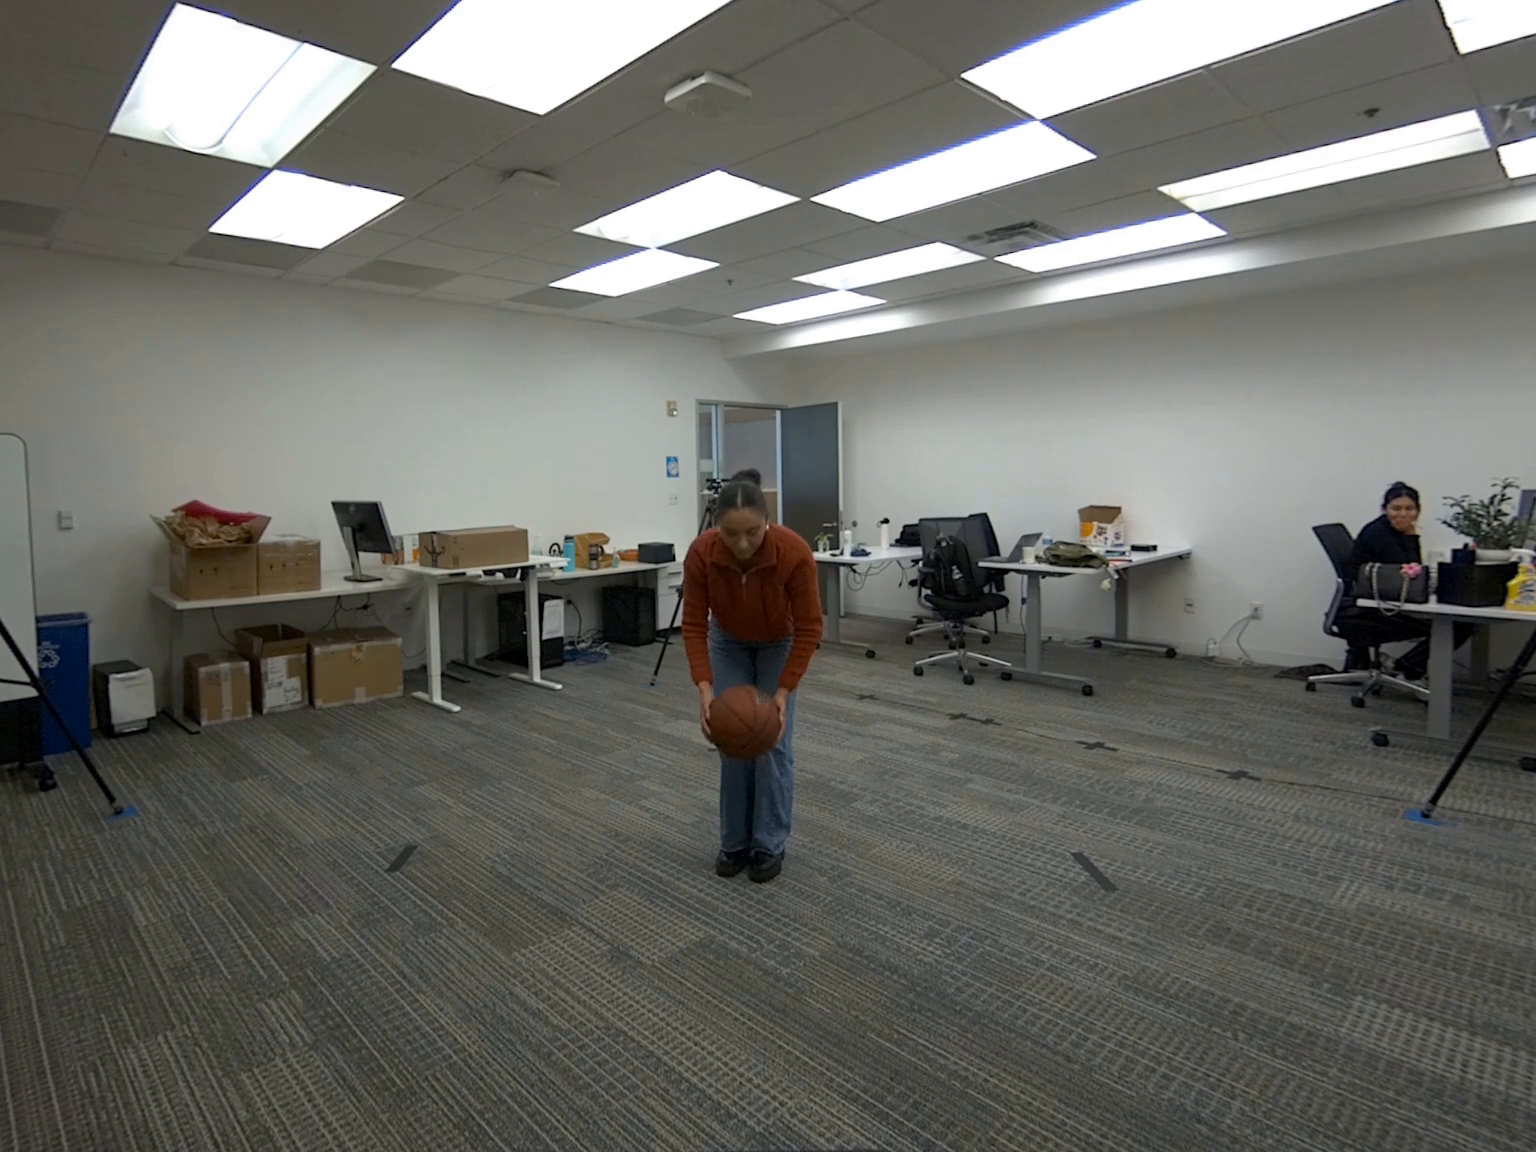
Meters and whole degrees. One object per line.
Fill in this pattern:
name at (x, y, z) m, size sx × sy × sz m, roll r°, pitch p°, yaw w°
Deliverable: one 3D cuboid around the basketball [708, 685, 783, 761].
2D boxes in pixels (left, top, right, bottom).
basketball at (-0.077, 0.478, 2.745) m, size 0.236 × 0.235 × 0.237 m, roll -1°, pitch 5°, yaw -2°
